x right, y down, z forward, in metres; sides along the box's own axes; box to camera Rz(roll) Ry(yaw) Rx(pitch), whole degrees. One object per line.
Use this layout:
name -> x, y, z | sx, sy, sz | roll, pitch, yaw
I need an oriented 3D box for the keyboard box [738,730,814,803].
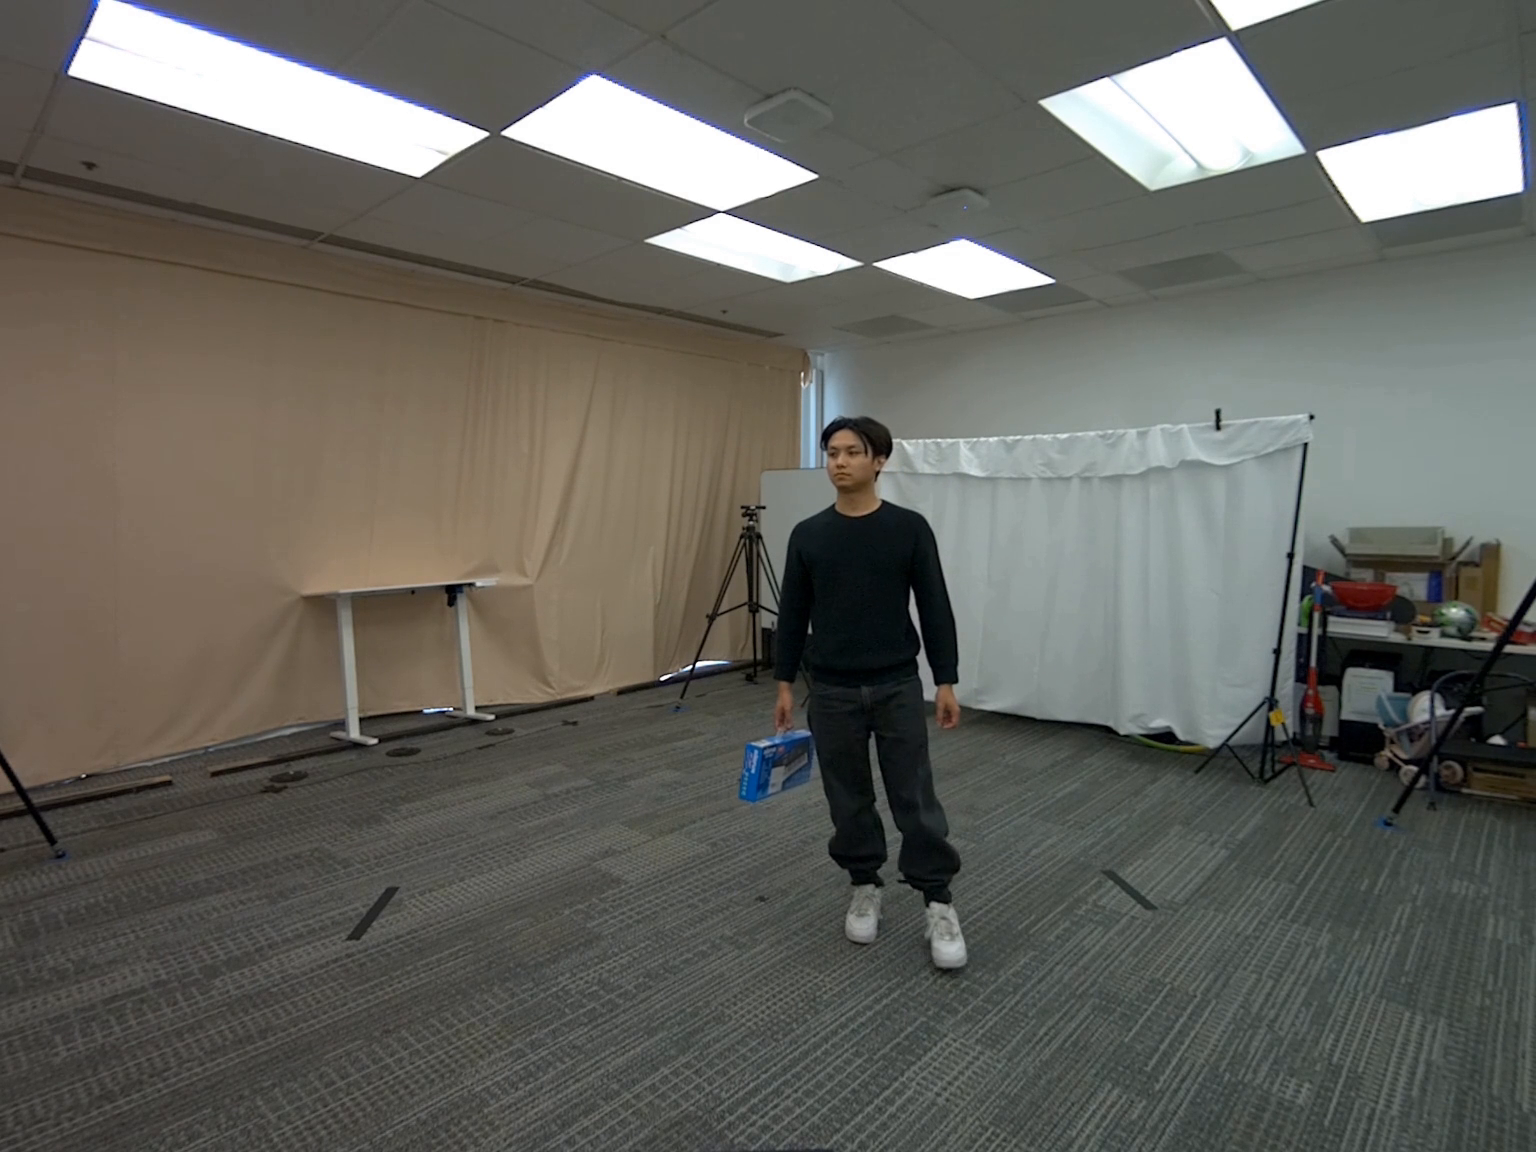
keyboard box -> 0.049, 0.624, 2.790 | 0.061, 0.176, 0.424 | 7, -1, 27
